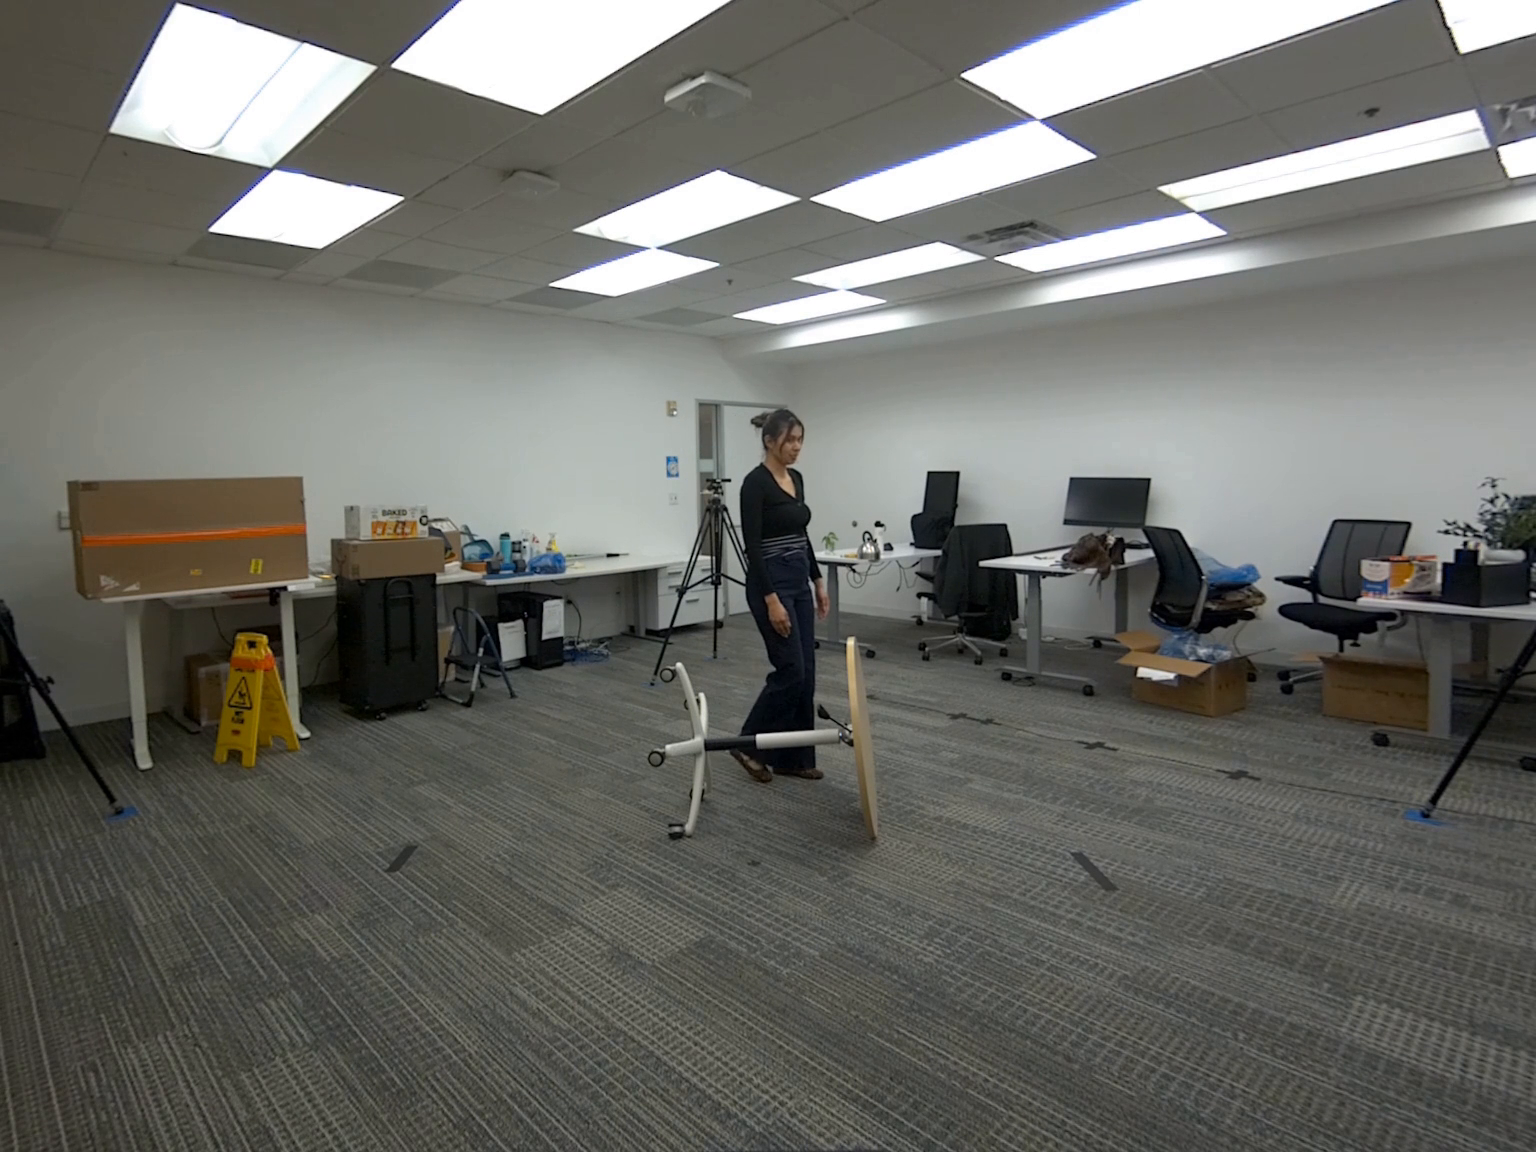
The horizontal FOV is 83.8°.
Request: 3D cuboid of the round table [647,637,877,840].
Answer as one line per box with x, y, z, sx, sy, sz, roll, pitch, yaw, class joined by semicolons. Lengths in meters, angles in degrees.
-0.005;0.669;3.445;0.801;0.762;0.760;-6;4;9;round table
